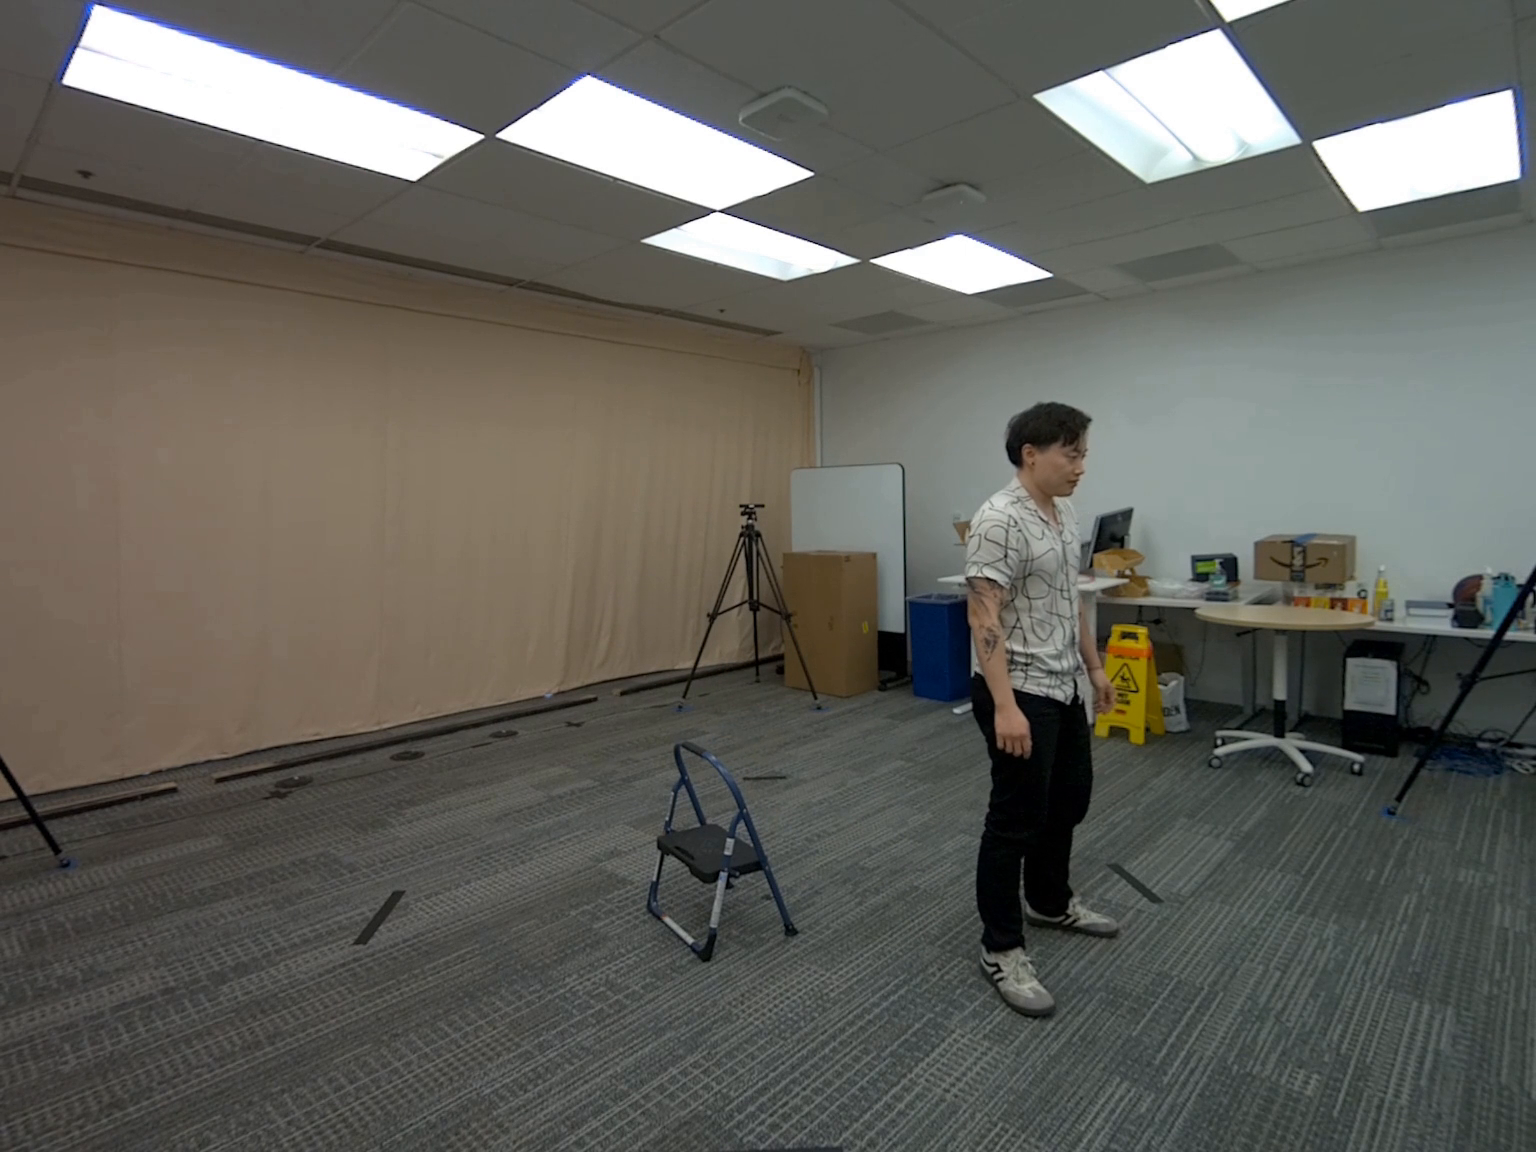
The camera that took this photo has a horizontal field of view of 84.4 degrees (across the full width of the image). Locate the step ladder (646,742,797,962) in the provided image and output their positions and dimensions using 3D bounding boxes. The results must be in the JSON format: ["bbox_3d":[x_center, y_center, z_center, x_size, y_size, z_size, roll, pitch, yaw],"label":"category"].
[{"bbox_3d":[-0.170,0.851,2.809,0.339,0.604,0.444,-4,4,-33],"label":"step ladder"}]
